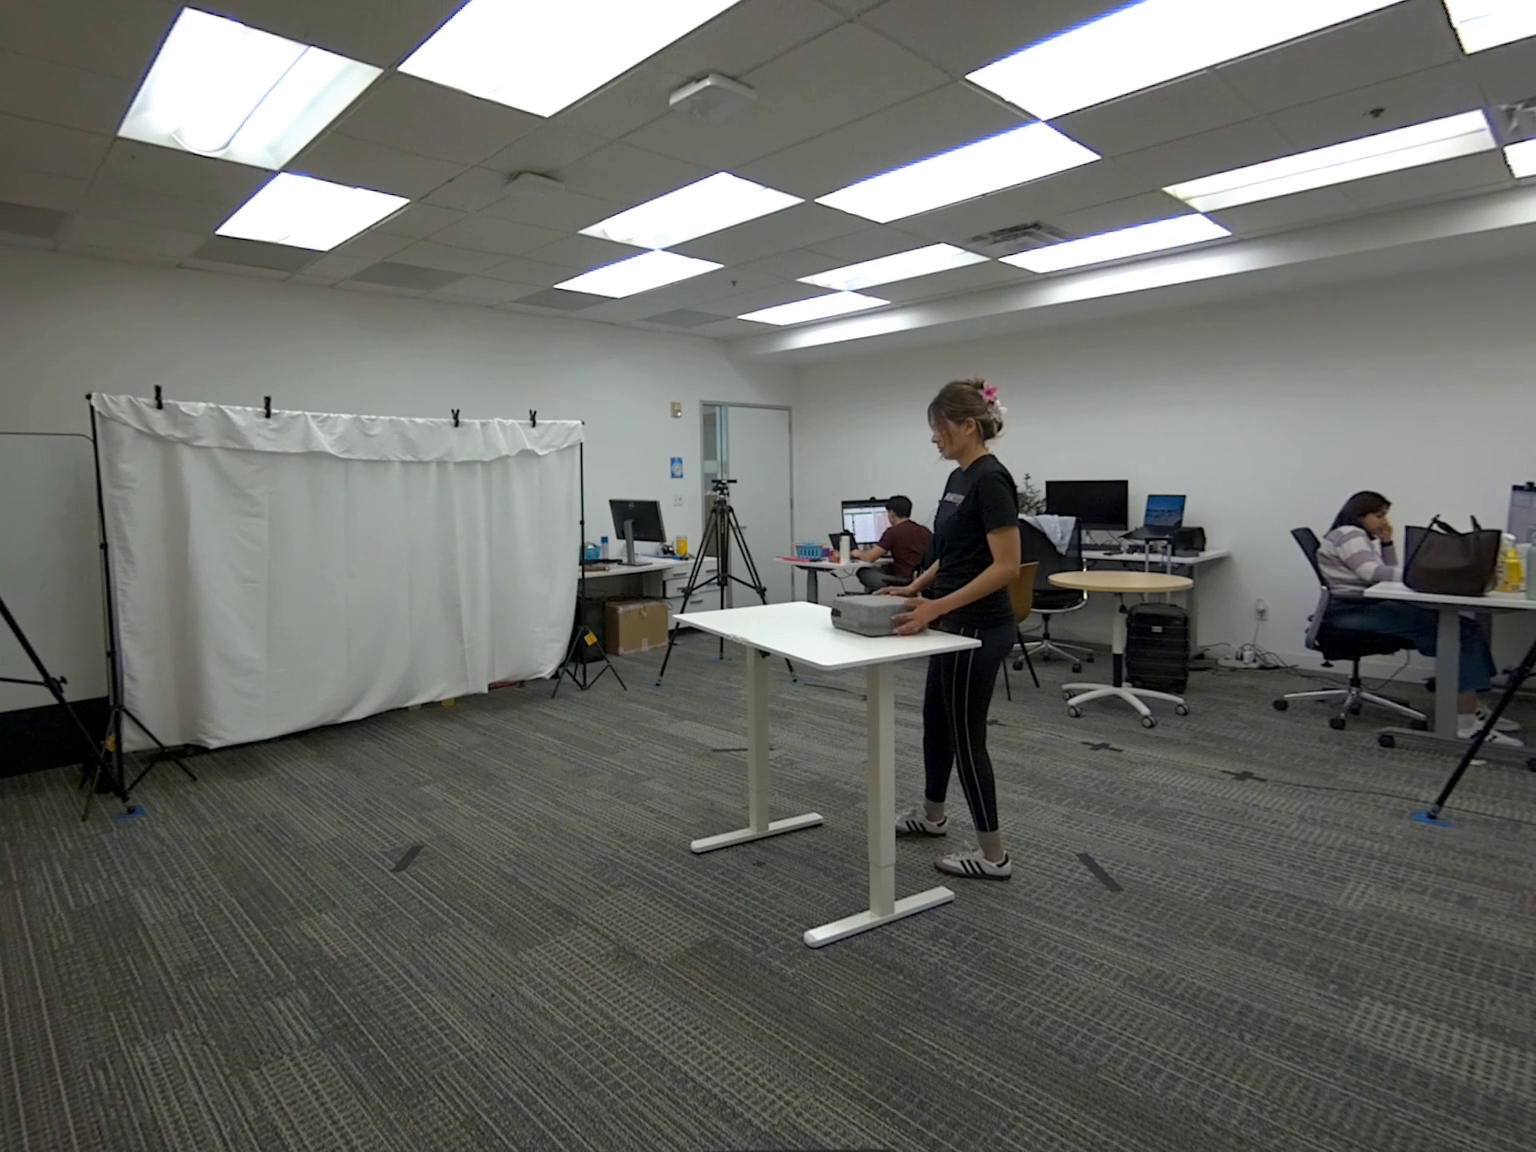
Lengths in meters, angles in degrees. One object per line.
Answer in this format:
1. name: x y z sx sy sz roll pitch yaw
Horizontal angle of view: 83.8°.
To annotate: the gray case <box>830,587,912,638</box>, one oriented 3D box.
1. gray case: 0.383 0.129 2.889 0.255 0.104 0.263 -3 4 -24
